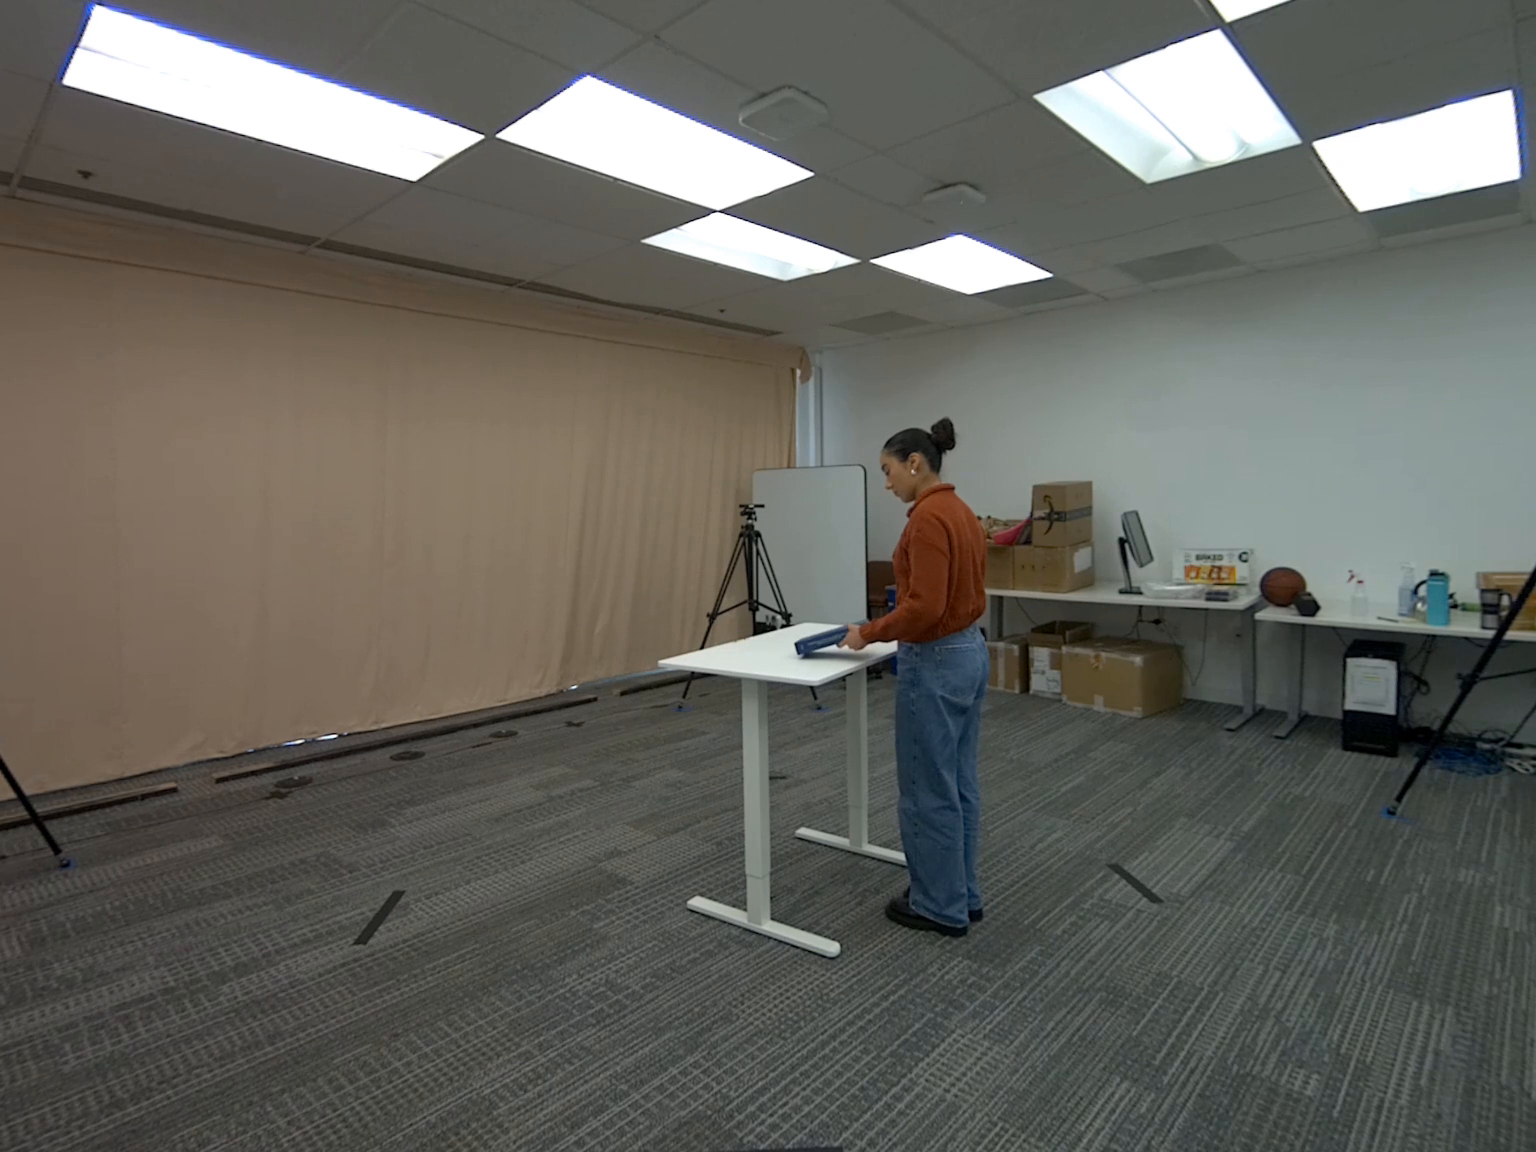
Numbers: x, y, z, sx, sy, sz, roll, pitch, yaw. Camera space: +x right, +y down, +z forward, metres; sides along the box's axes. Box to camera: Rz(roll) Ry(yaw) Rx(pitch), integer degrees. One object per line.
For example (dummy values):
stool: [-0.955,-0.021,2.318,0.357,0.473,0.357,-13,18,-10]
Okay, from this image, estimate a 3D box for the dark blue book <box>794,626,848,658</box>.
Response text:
dark blue book: [0.222,0.203,2.814,0.247,0.045,0.161,-17,-2,12]
